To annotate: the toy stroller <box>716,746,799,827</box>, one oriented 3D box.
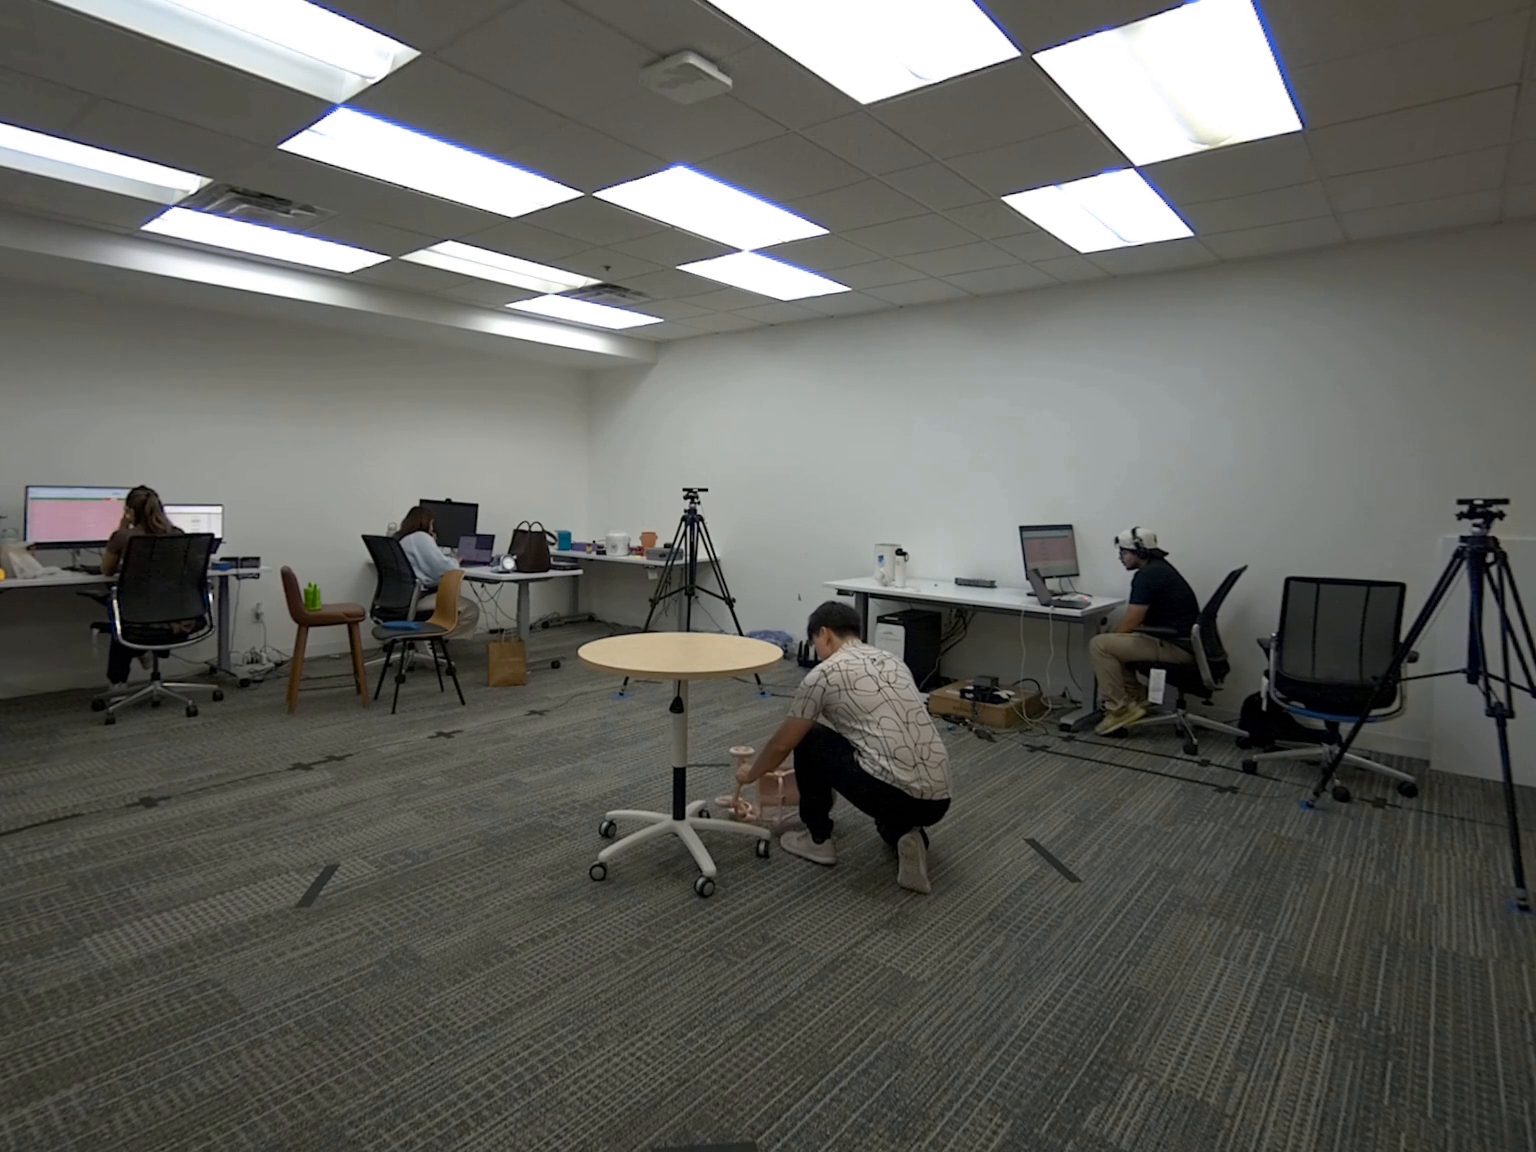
[{"bbox_3d":[0.034,0.877,3.512,0.534,0.281,0.343,2,3,-2],"label":"toy stroller"}]
